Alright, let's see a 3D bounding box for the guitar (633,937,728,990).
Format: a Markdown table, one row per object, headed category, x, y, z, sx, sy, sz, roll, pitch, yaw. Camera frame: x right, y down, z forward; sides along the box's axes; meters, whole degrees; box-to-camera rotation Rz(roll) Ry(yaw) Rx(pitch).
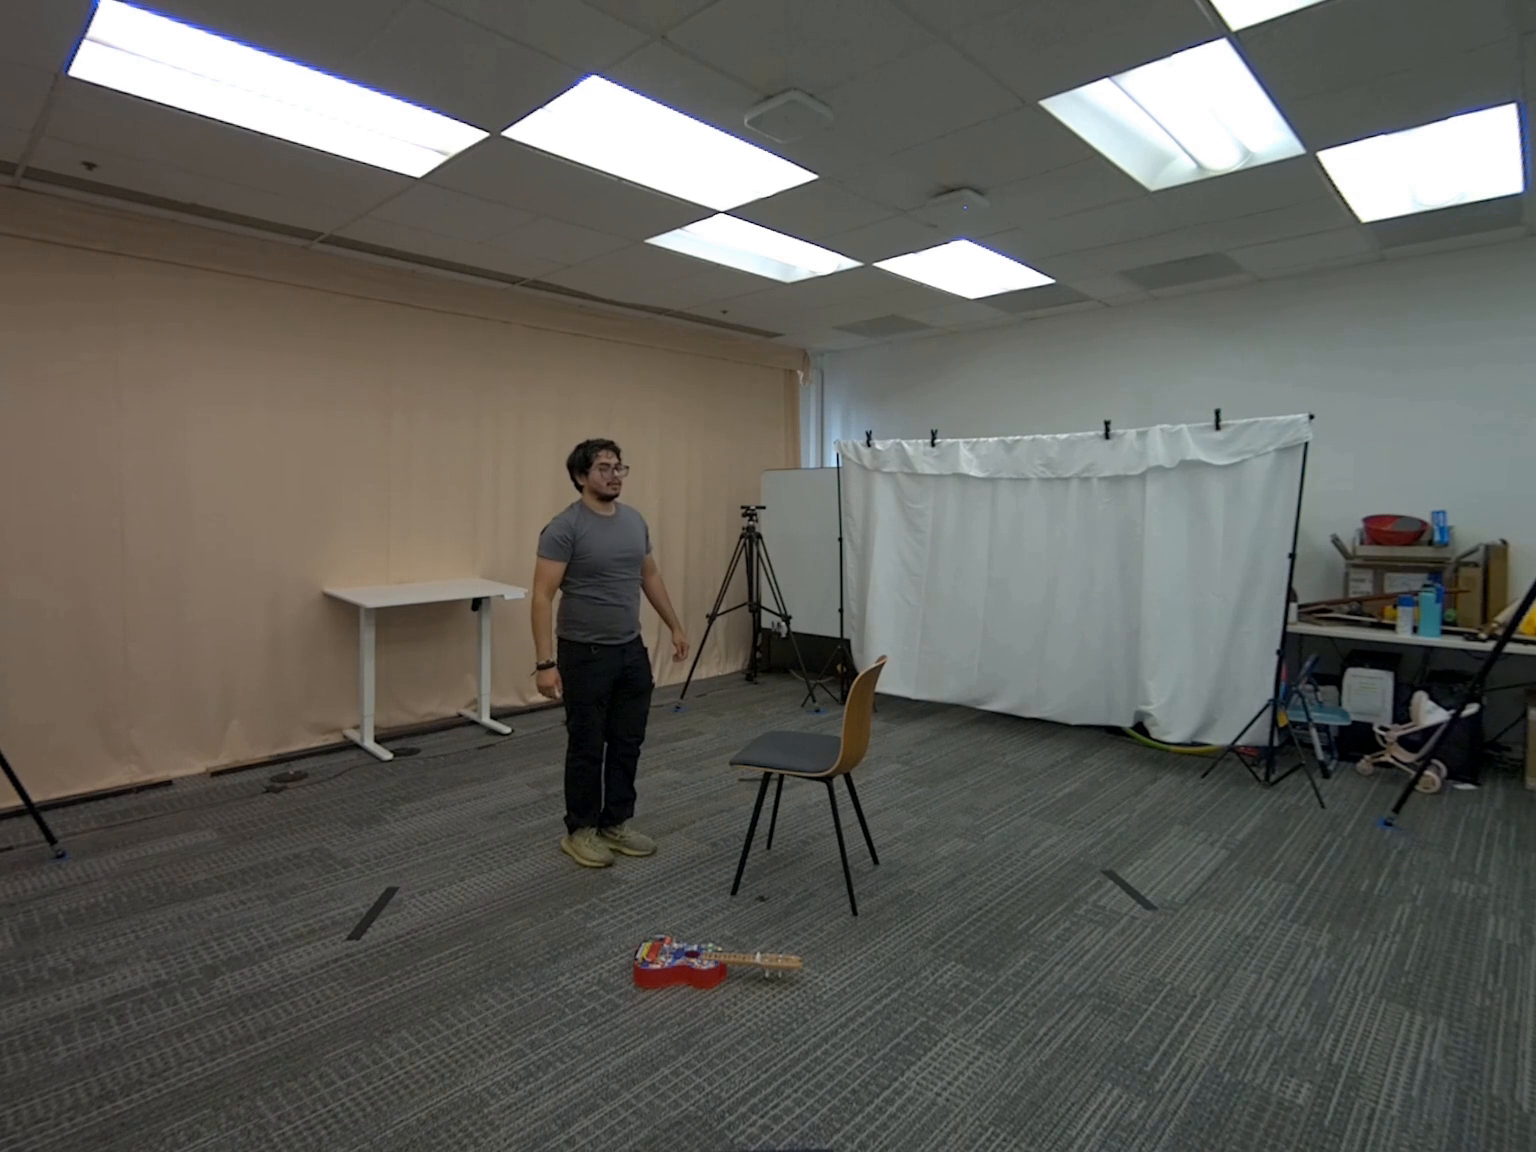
| category | x | y | z | sx | sy | sz | roll | pitch | yaw |
| --- | --- | --- | --- | --- | --- | --- | --- | --- | --- |
| guitar | -0.156 | 1.156 | 2.463 | 0.507 | 0.070 | 0.190 | 1 | 4 | 17 |
